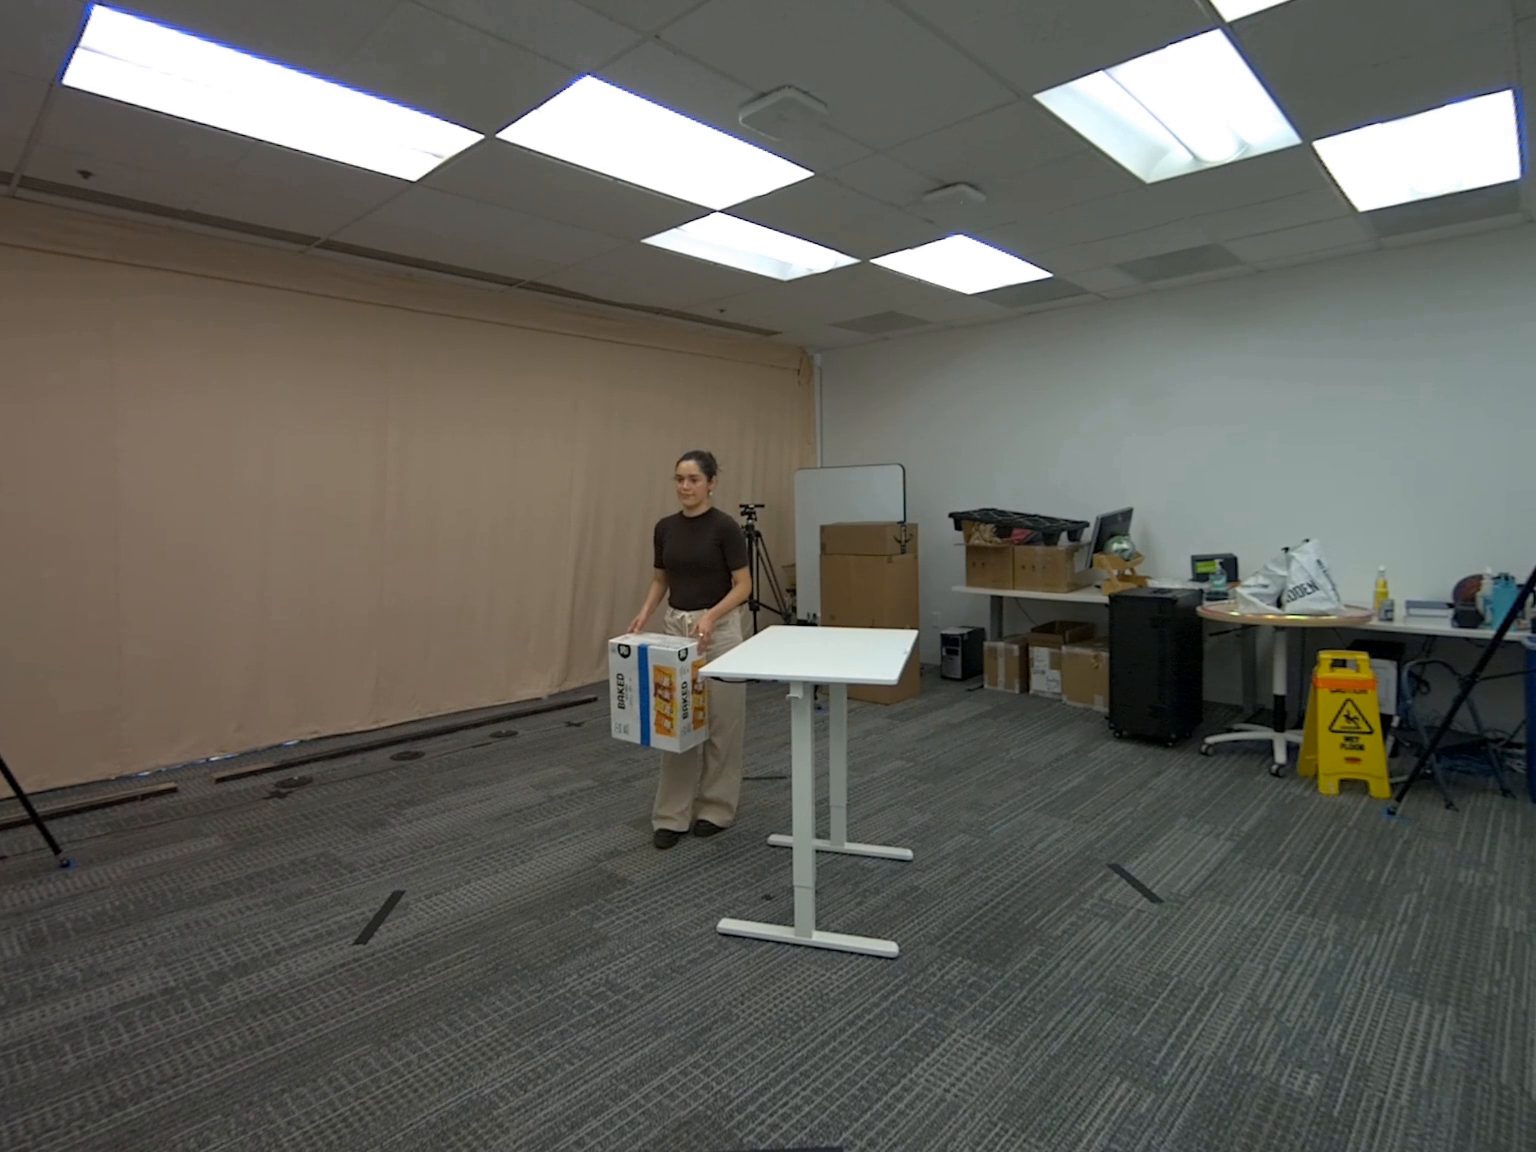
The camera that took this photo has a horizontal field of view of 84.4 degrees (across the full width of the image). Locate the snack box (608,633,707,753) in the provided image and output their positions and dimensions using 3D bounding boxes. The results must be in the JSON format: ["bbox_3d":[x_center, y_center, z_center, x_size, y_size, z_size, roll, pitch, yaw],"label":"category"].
[{"bbox_3d":[-0.440,0.457,3.368,0.351,0.403,0.200,4,9,31],"label":"snack box"}]
